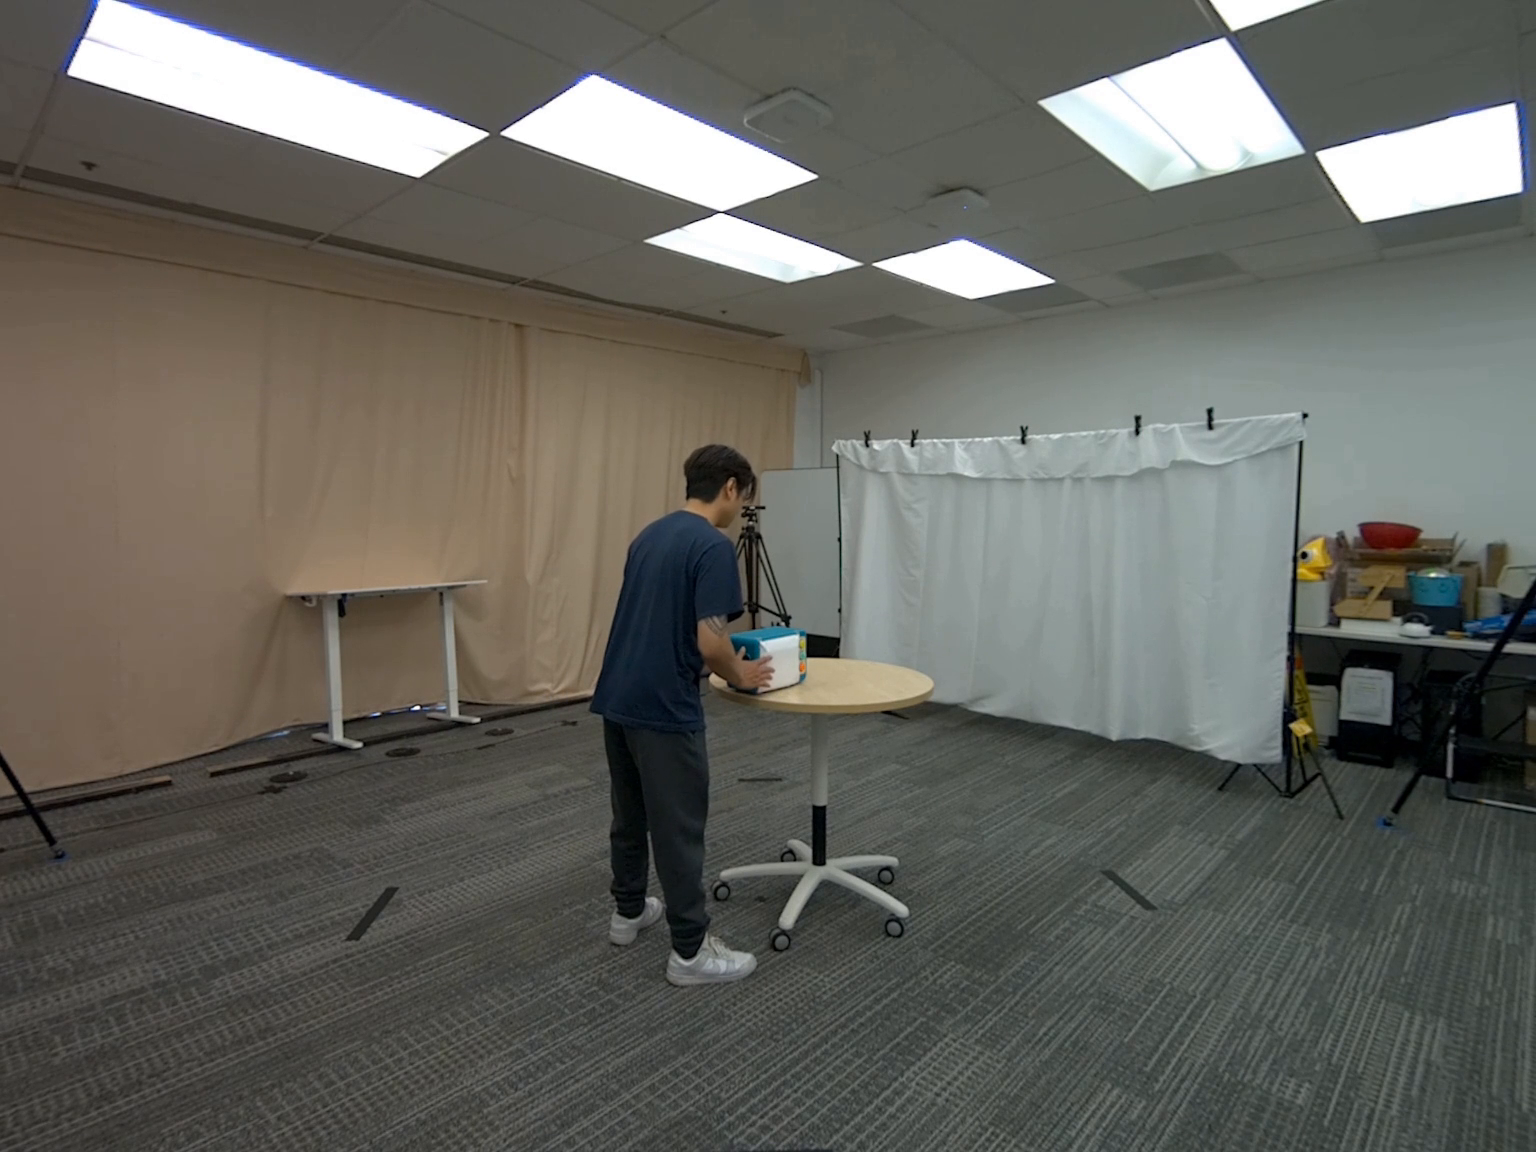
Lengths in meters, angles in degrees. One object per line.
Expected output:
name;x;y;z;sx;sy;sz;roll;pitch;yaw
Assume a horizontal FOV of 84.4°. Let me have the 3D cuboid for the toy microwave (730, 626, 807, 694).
toy microwave;0.013;0.277;2.770;0.157;0.183;0.277;4;6;39
